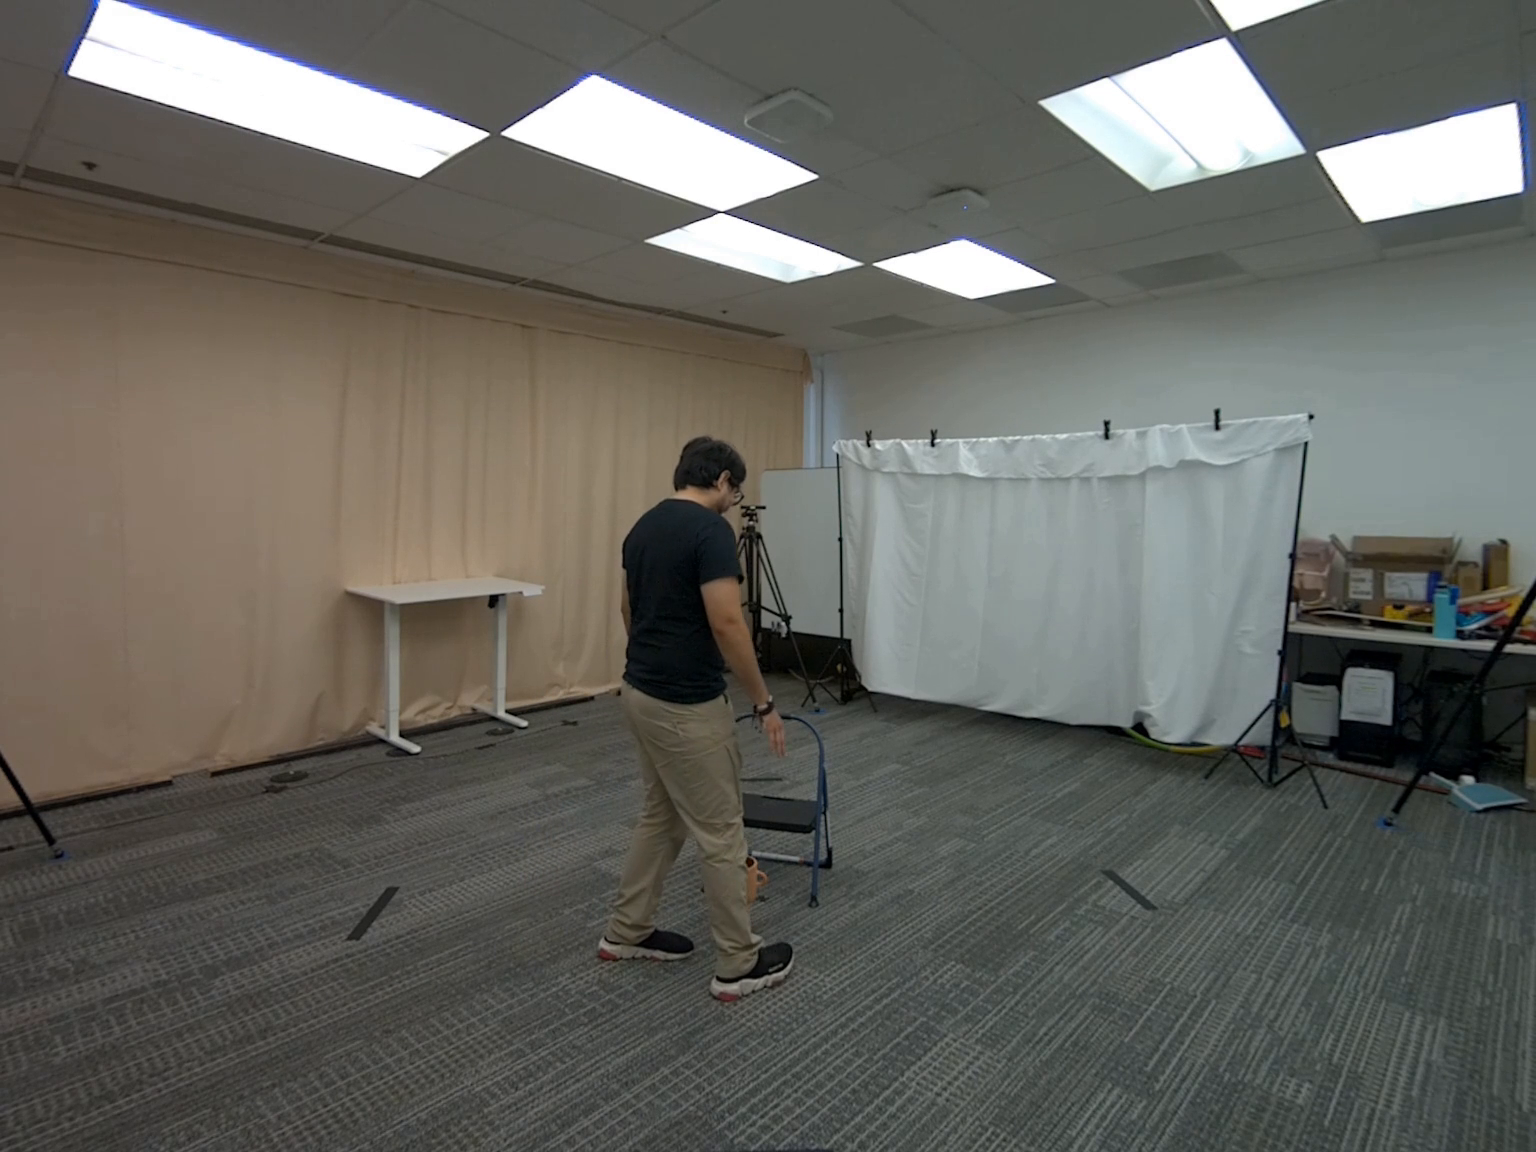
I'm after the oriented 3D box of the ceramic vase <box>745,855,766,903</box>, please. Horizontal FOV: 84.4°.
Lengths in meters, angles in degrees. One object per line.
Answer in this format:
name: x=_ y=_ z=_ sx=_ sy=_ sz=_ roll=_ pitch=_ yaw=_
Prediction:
ceramic vase: x=-0.105 y=1.043 z=2.773 sx=0.130 sy=0.219 sz=0.164 roll=-3 pitch=5 yaw=-41
